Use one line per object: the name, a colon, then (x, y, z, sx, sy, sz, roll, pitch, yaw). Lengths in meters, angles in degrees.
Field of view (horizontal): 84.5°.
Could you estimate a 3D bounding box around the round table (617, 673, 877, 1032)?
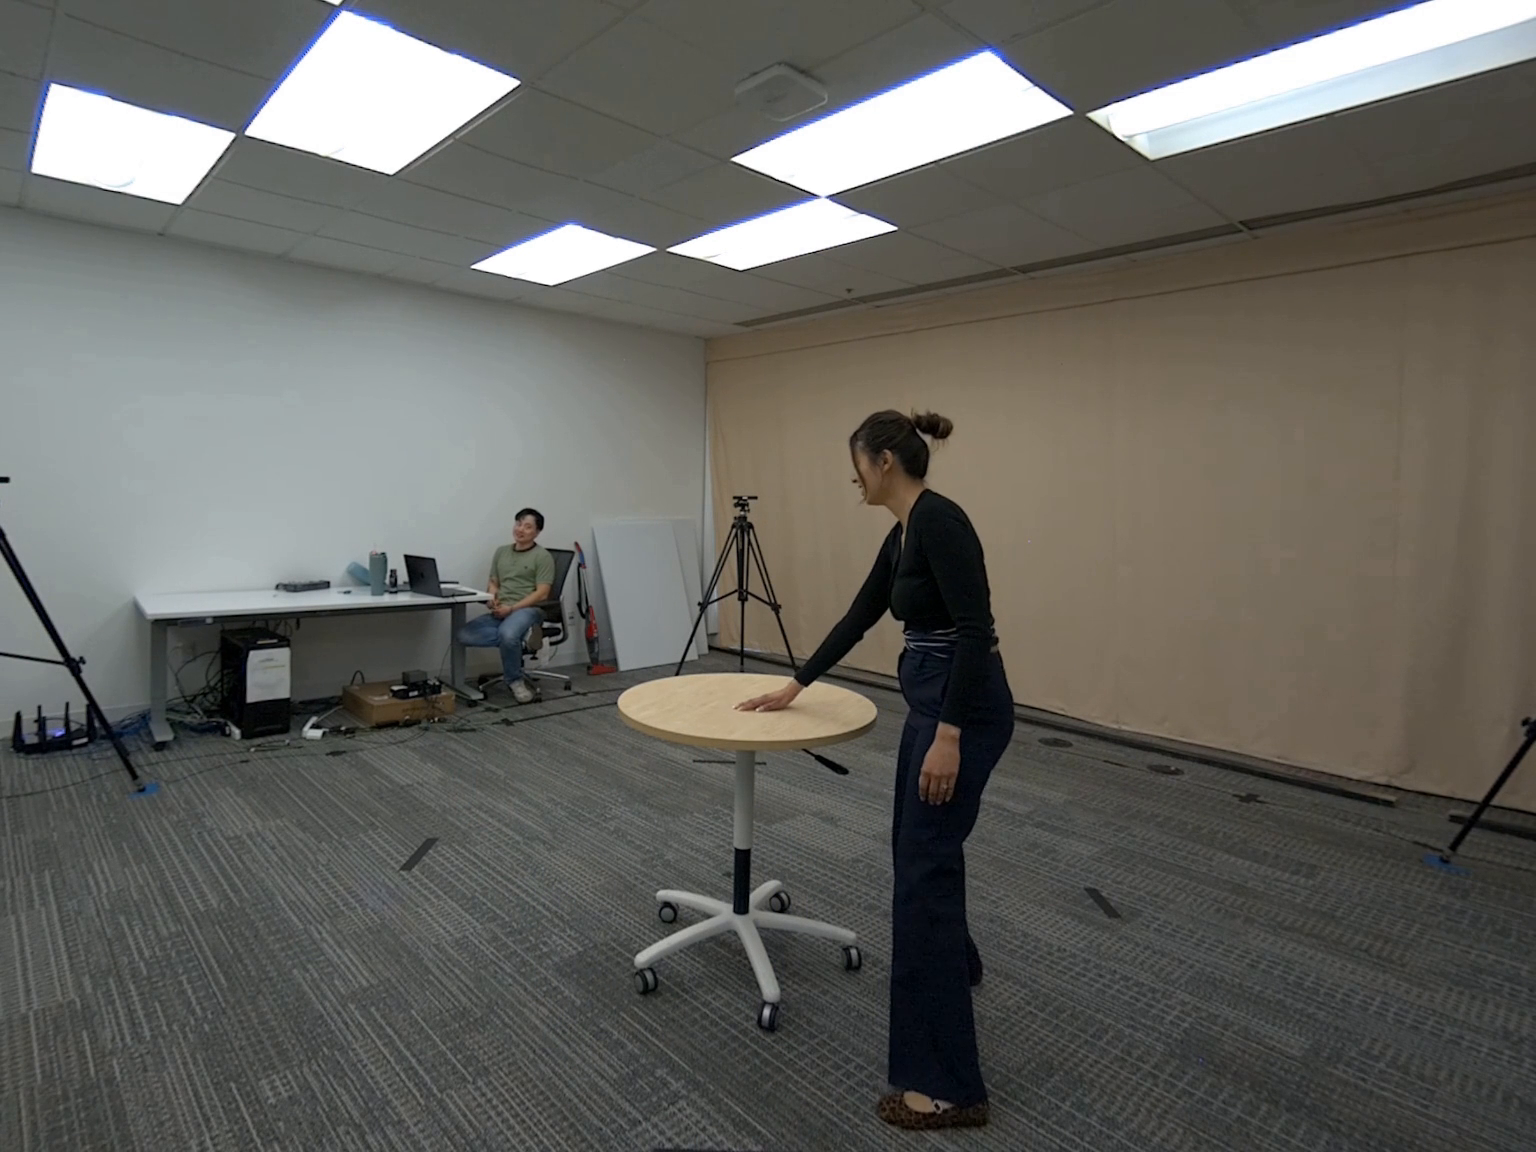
round table: (-0.080, 0.770, 2.529, 0.763, 0.791, 0.767, 2, 4, -2)
